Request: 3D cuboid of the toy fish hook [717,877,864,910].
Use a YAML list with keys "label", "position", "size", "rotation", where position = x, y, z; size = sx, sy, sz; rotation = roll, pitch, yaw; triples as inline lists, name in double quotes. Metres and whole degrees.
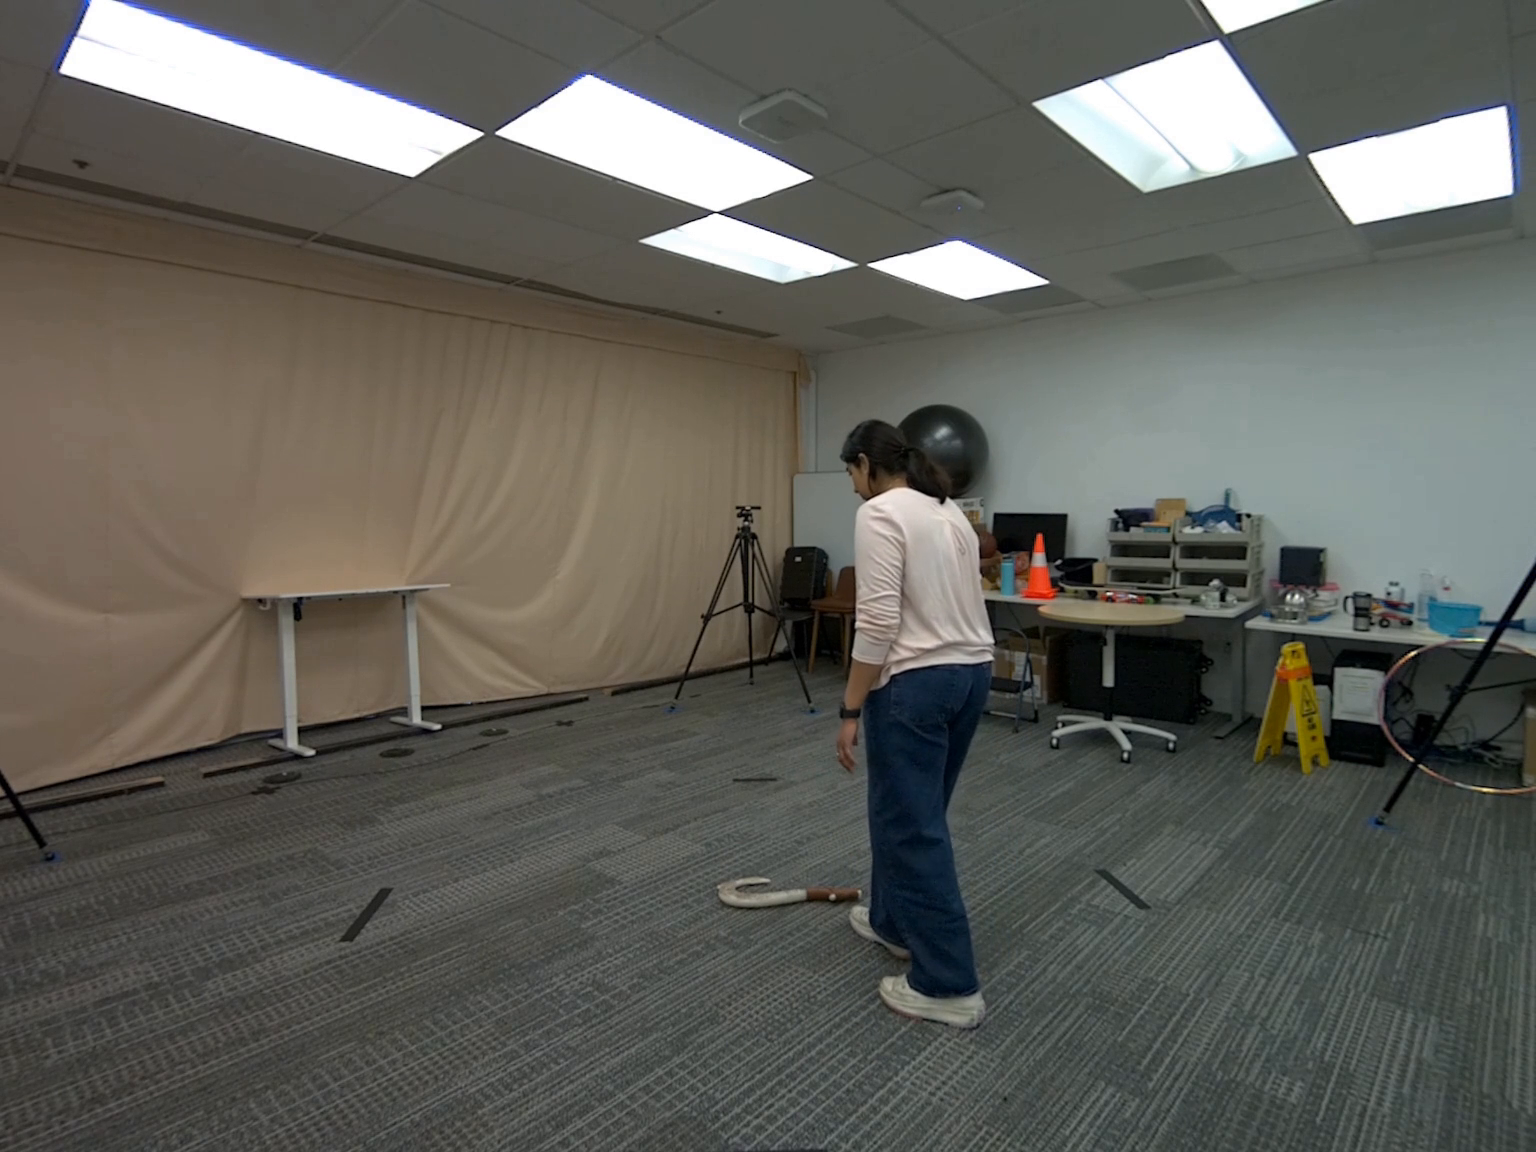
- label: "toy fish hook"
  position: [0.079, 1.118, 3.009]
  size: [0.505, 0.048, 0.226]
  rotation: [0, 5, -4]
